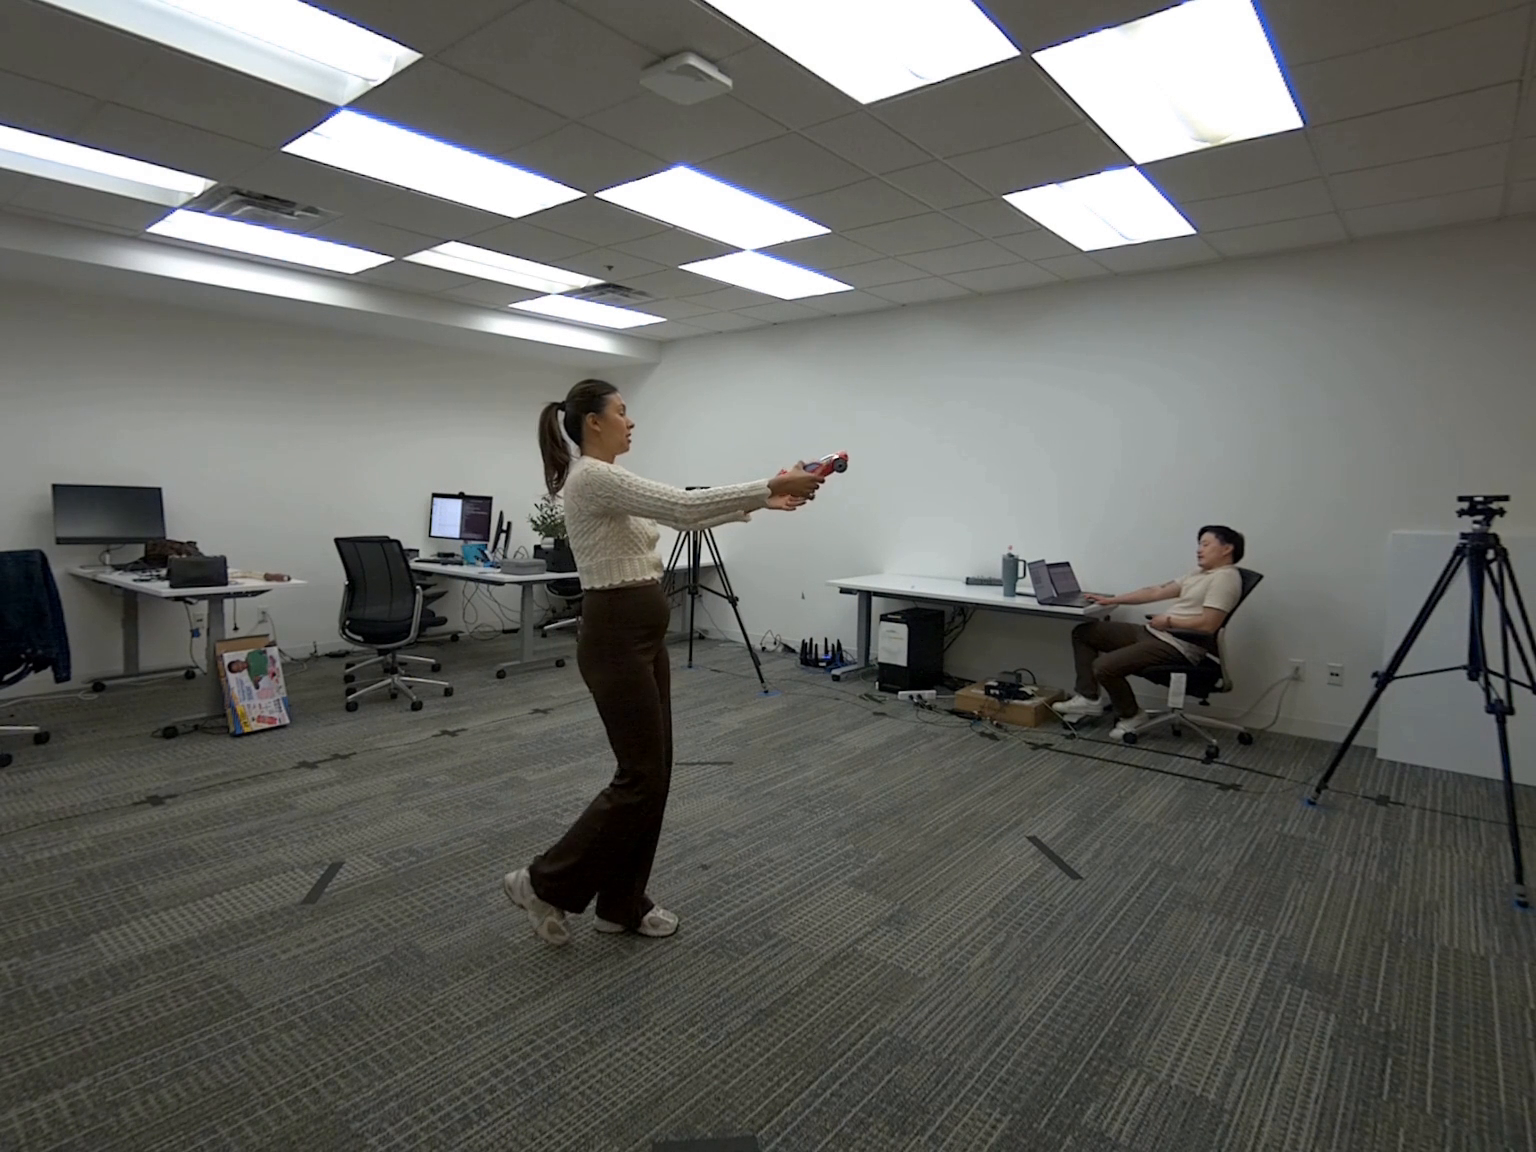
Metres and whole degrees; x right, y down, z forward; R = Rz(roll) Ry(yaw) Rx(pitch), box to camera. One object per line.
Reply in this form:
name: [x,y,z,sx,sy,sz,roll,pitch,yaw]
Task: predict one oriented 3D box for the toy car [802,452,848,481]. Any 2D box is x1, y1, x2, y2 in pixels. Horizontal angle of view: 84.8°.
toy car: [0.112,-0.294,2.533,0.256,0.082,0.131,-19,9,8]
